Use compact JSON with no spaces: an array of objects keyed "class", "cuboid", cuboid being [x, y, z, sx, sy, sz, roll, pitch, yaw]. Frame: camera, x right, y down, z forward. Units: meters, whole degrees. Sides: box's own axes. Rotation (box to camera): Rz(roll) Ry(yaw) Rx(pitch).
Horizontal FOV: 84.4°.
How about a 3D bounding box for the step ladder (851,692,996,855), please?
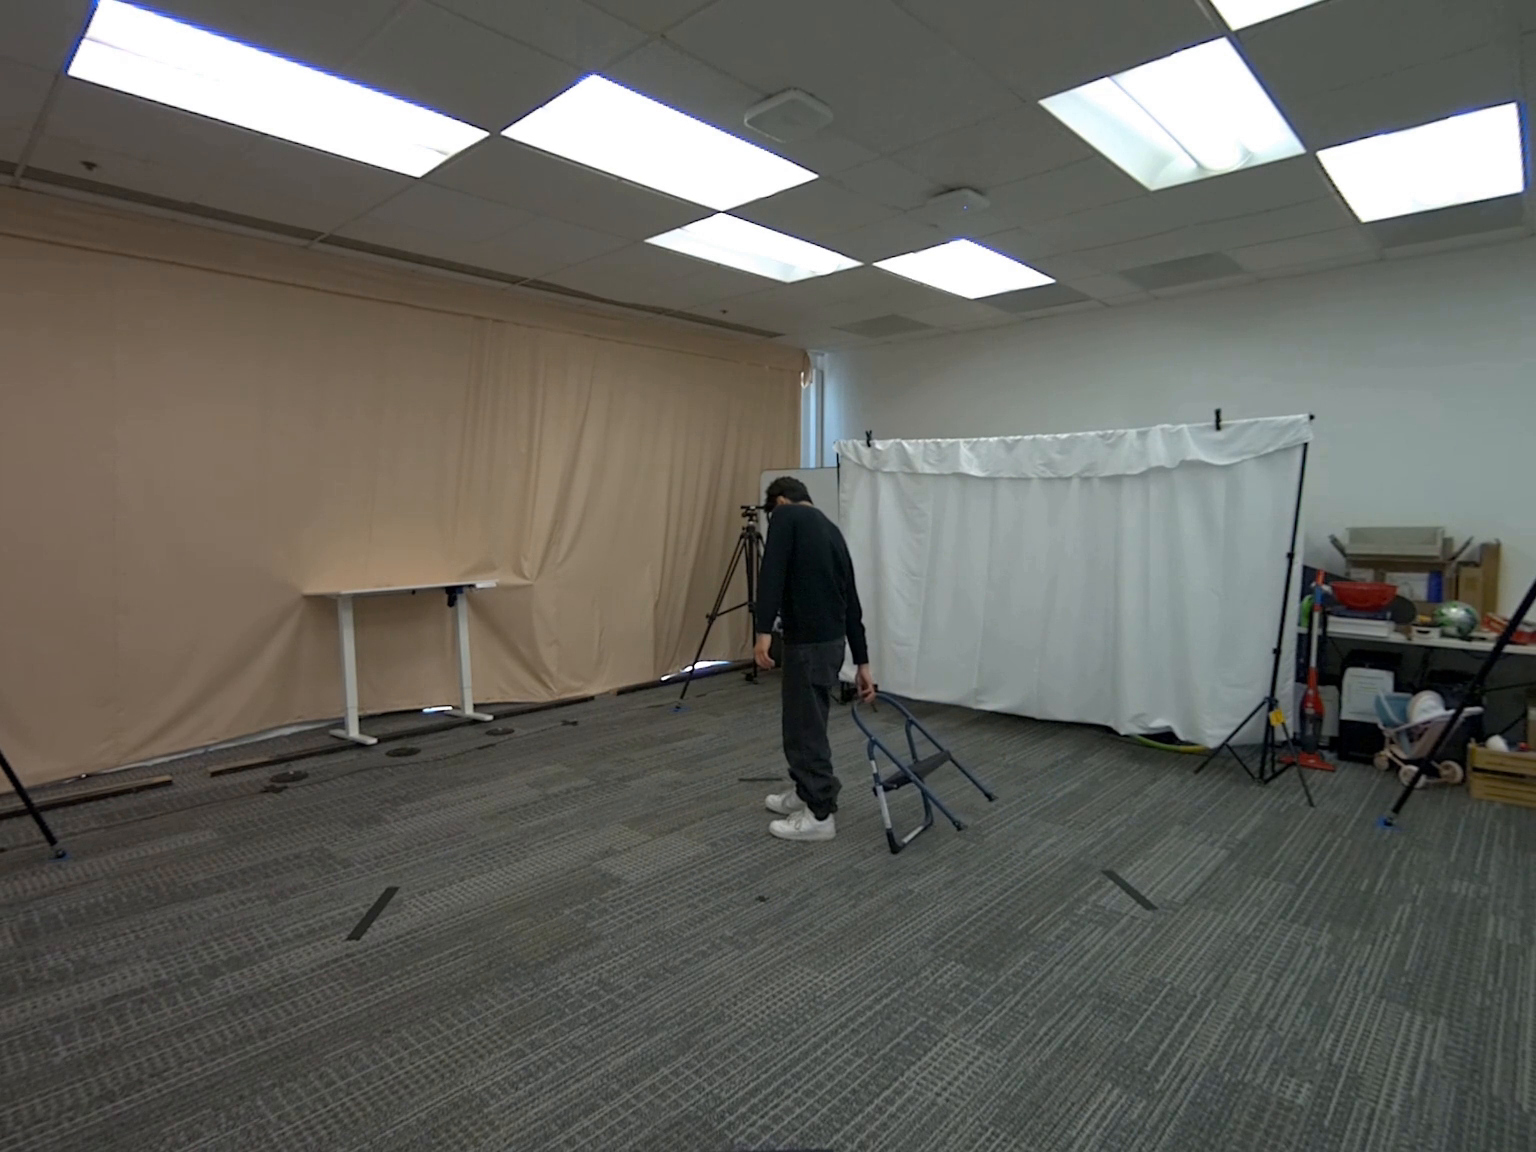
[{"class":"step ladder","cuboid":[0.604,0.762,3.522,0.354,0.615,0.418,-34,-16,30]}]
